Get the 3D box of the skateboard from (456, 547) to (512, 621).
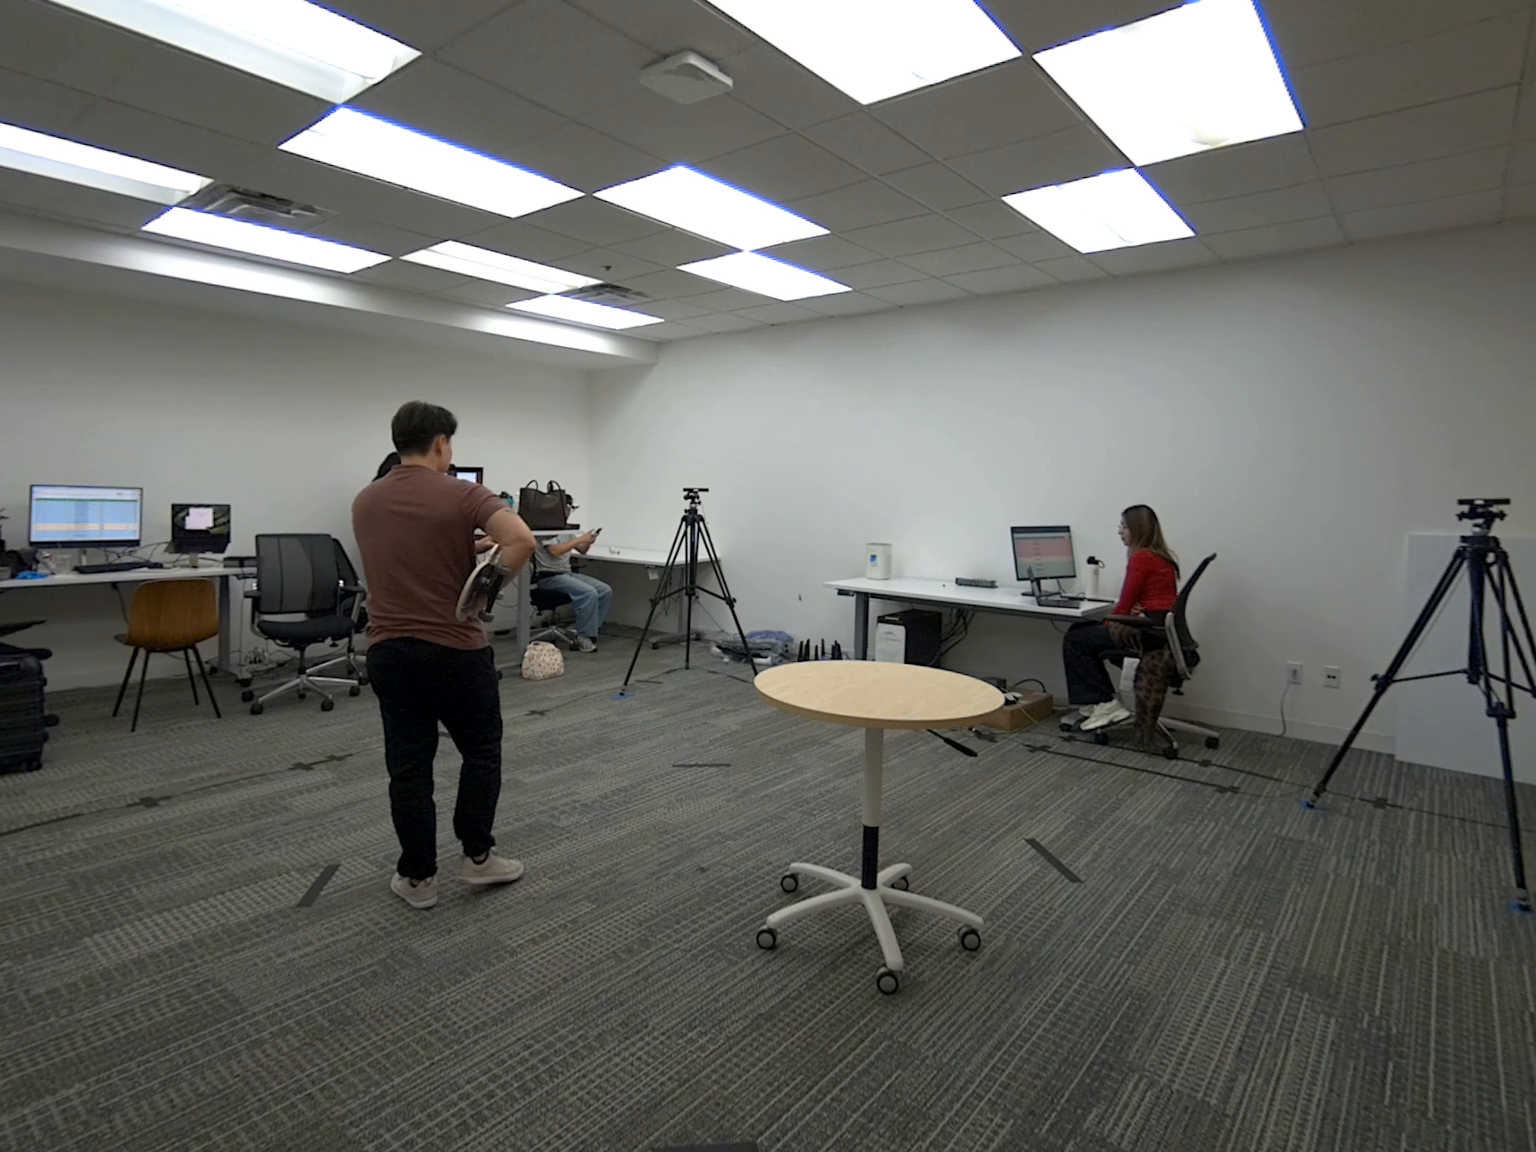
[{"bbox_3d":[-0.945,0.020,2.875,0.108,0.193,0.801,22,3,-16],"label":"skateboard"}]
